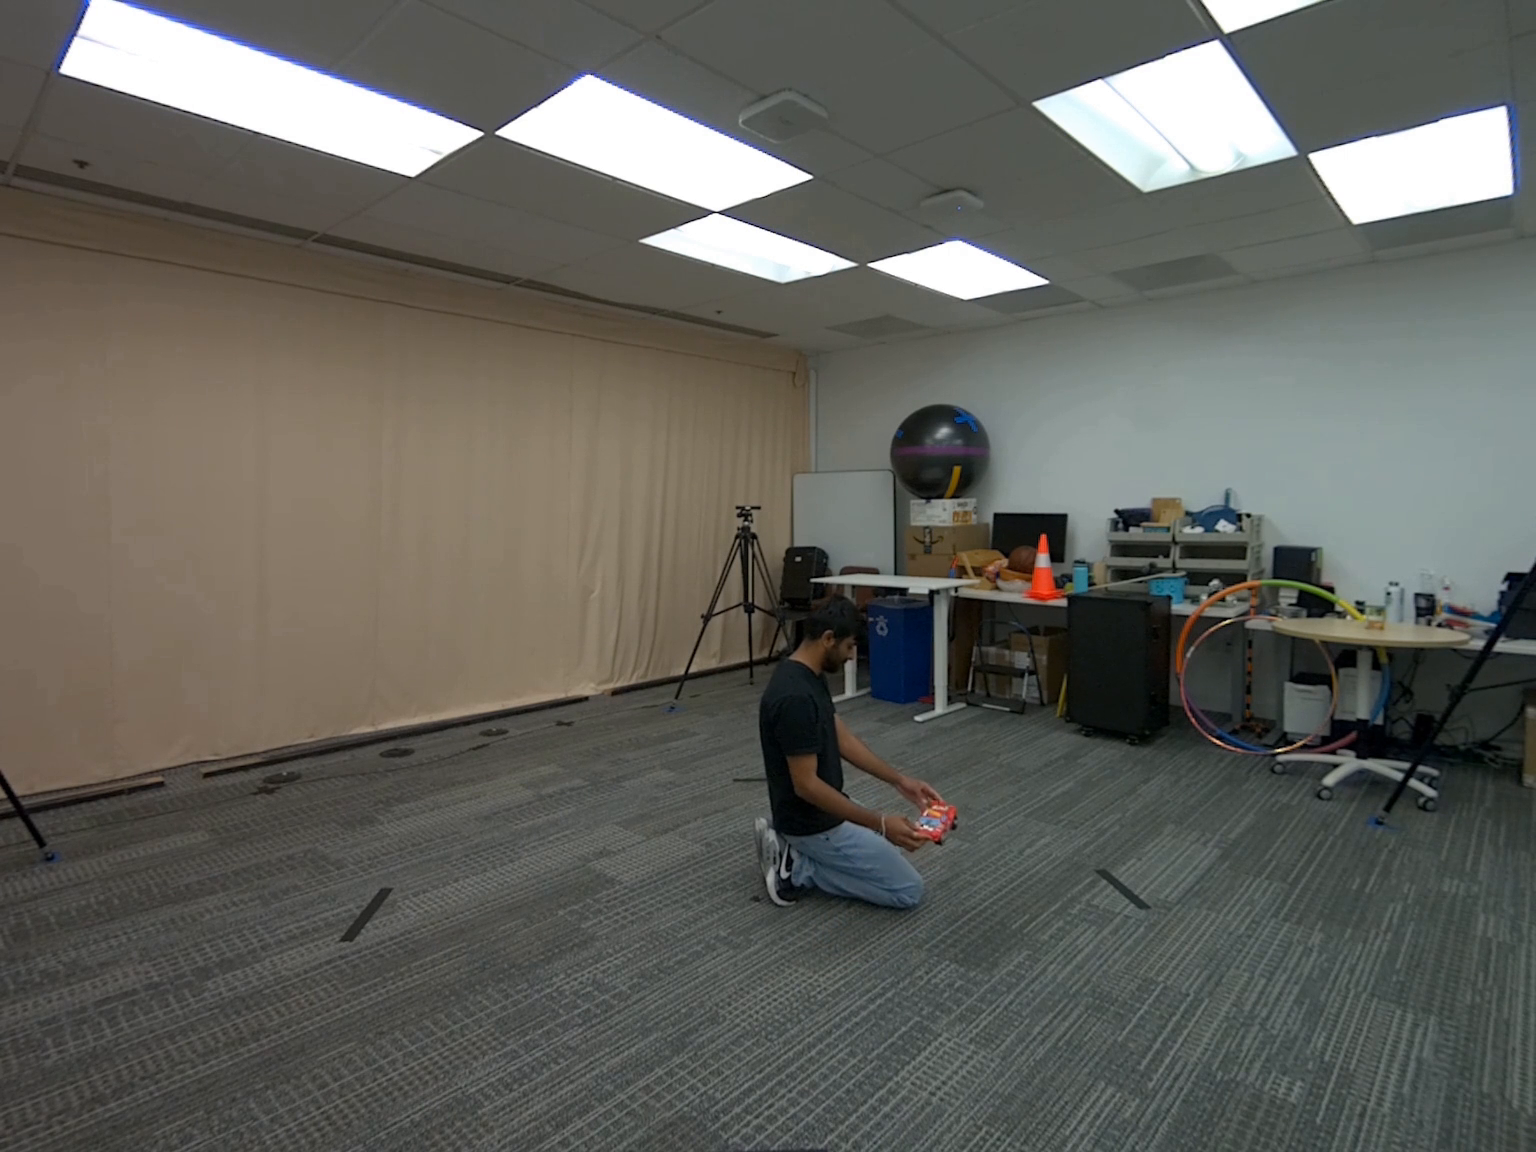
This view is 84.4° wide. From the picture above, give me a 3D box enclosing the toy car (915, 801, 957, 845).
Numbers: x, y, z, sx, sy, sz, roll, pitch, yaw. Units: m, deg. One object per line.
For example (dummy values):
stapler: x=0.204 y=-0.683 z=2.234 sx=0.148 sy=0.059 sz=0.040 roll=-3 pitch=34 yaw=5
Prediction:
toy car: x=0.549 y=0.818 z=2.792 sx=0.134 sy=0.082 sz=0.250 roll=-3 pitch=15 yaw=30
